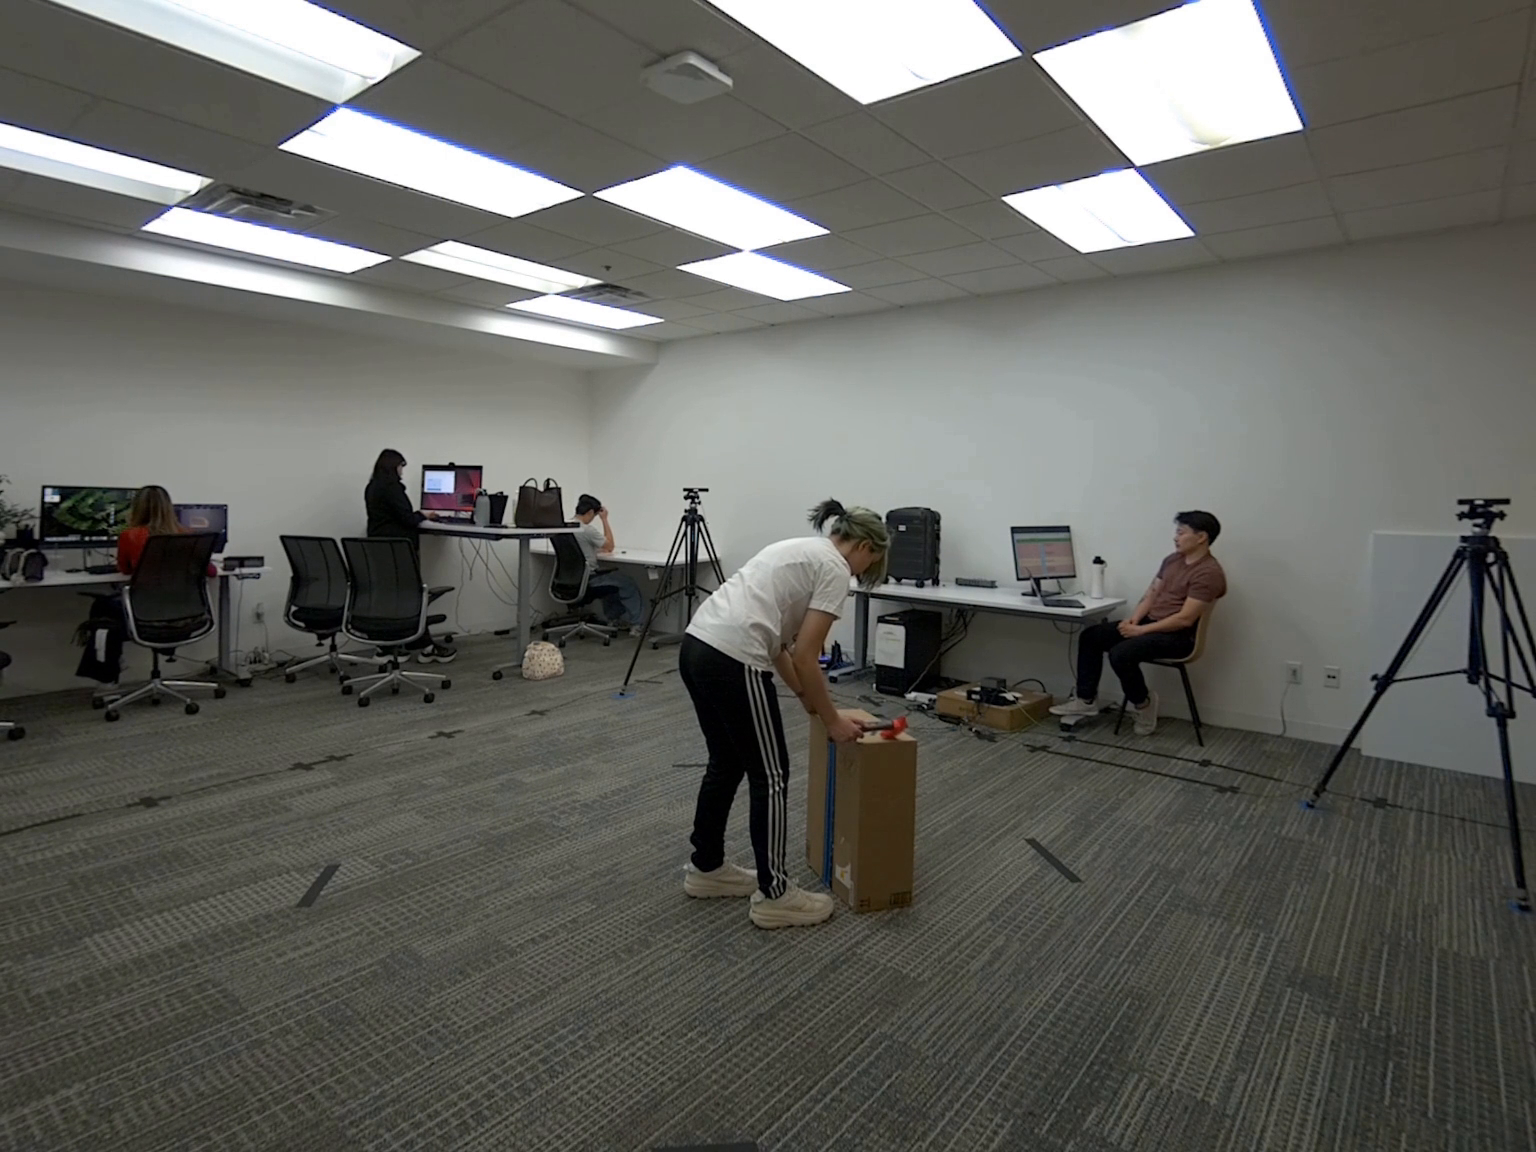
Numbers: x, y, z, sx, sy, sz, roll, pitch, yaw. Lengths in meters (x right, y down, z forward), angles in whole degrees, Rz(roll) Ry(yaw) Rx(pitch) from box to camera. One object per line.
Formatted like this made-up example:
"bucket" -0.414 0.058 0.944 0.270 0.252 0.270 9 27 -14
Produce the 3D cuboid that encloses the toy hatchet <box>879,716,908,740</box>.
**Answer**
"toy hatchet" 0.321 0.524 2.855 0.272 0.030 0.126 -13 -34 7
